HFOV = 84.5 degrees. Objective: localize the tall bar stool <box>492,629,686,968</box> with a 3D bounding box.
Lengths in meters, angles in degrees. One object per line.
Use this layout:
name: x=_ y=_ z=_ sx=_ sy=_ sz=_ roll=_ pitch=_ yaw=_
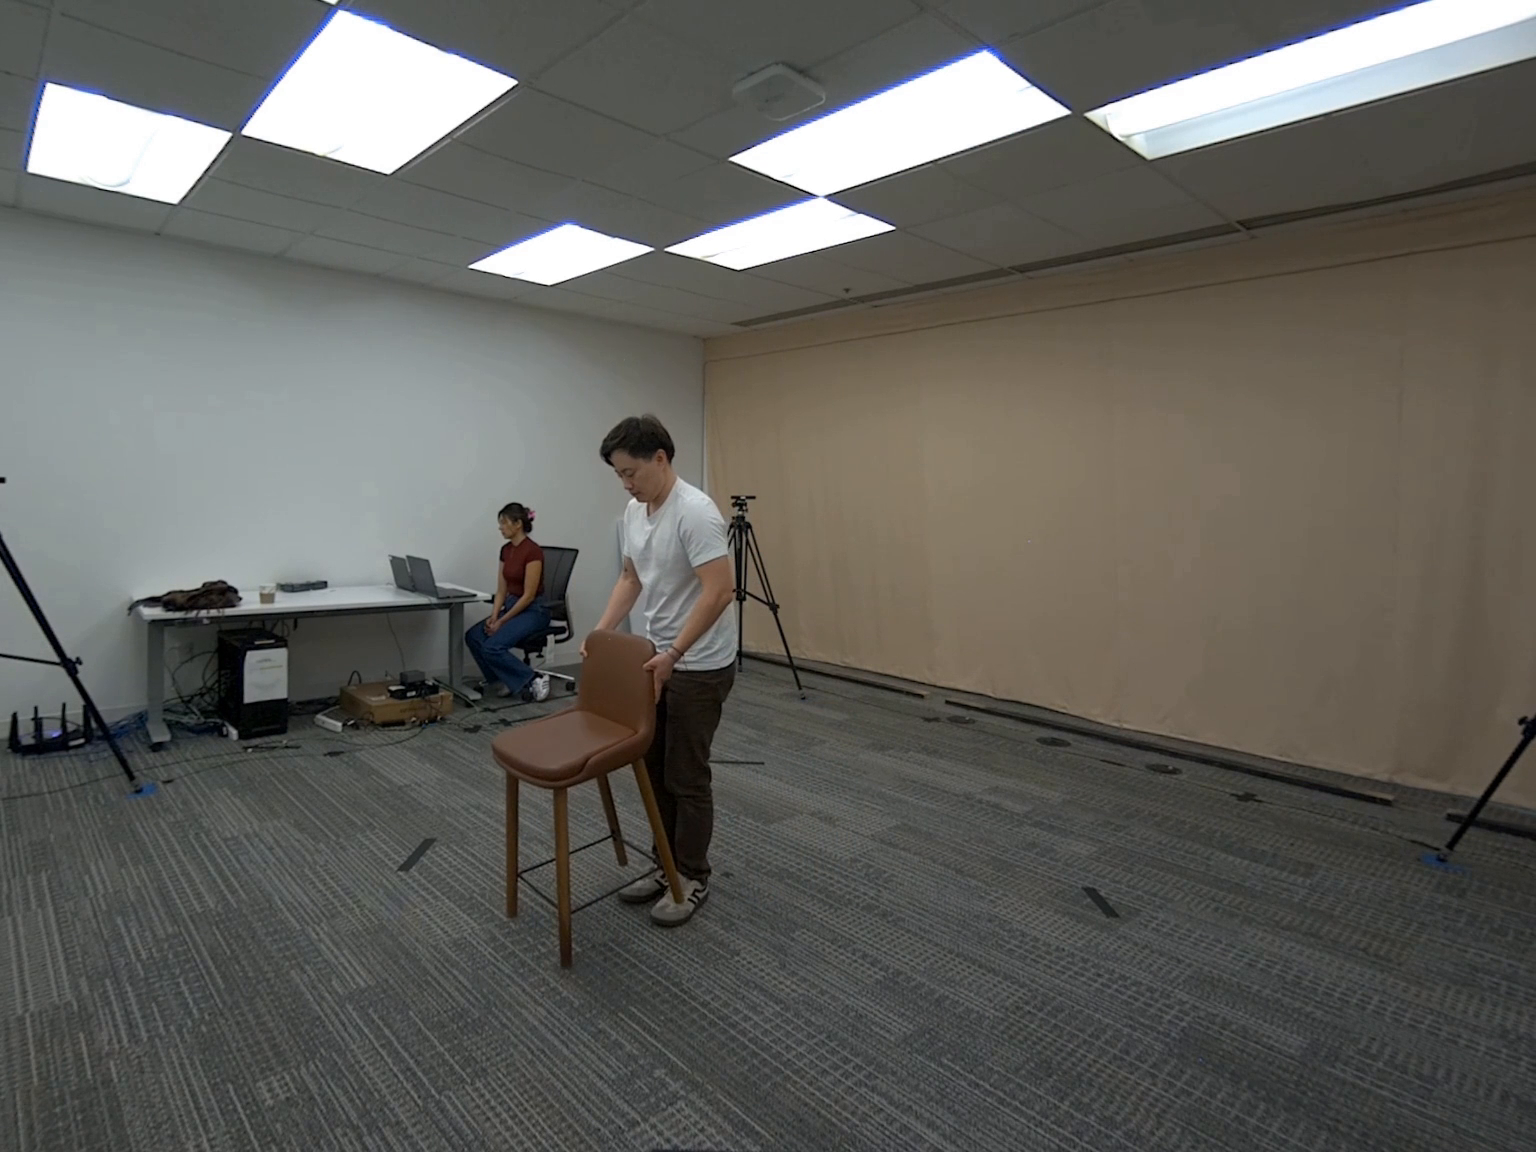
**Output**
tall bar stool: x=-0.601 y=0.666 z=2.682 sx=0.458 sy=0.884 sz=0.468 roll=-9 pitch=10 yaw=-39
